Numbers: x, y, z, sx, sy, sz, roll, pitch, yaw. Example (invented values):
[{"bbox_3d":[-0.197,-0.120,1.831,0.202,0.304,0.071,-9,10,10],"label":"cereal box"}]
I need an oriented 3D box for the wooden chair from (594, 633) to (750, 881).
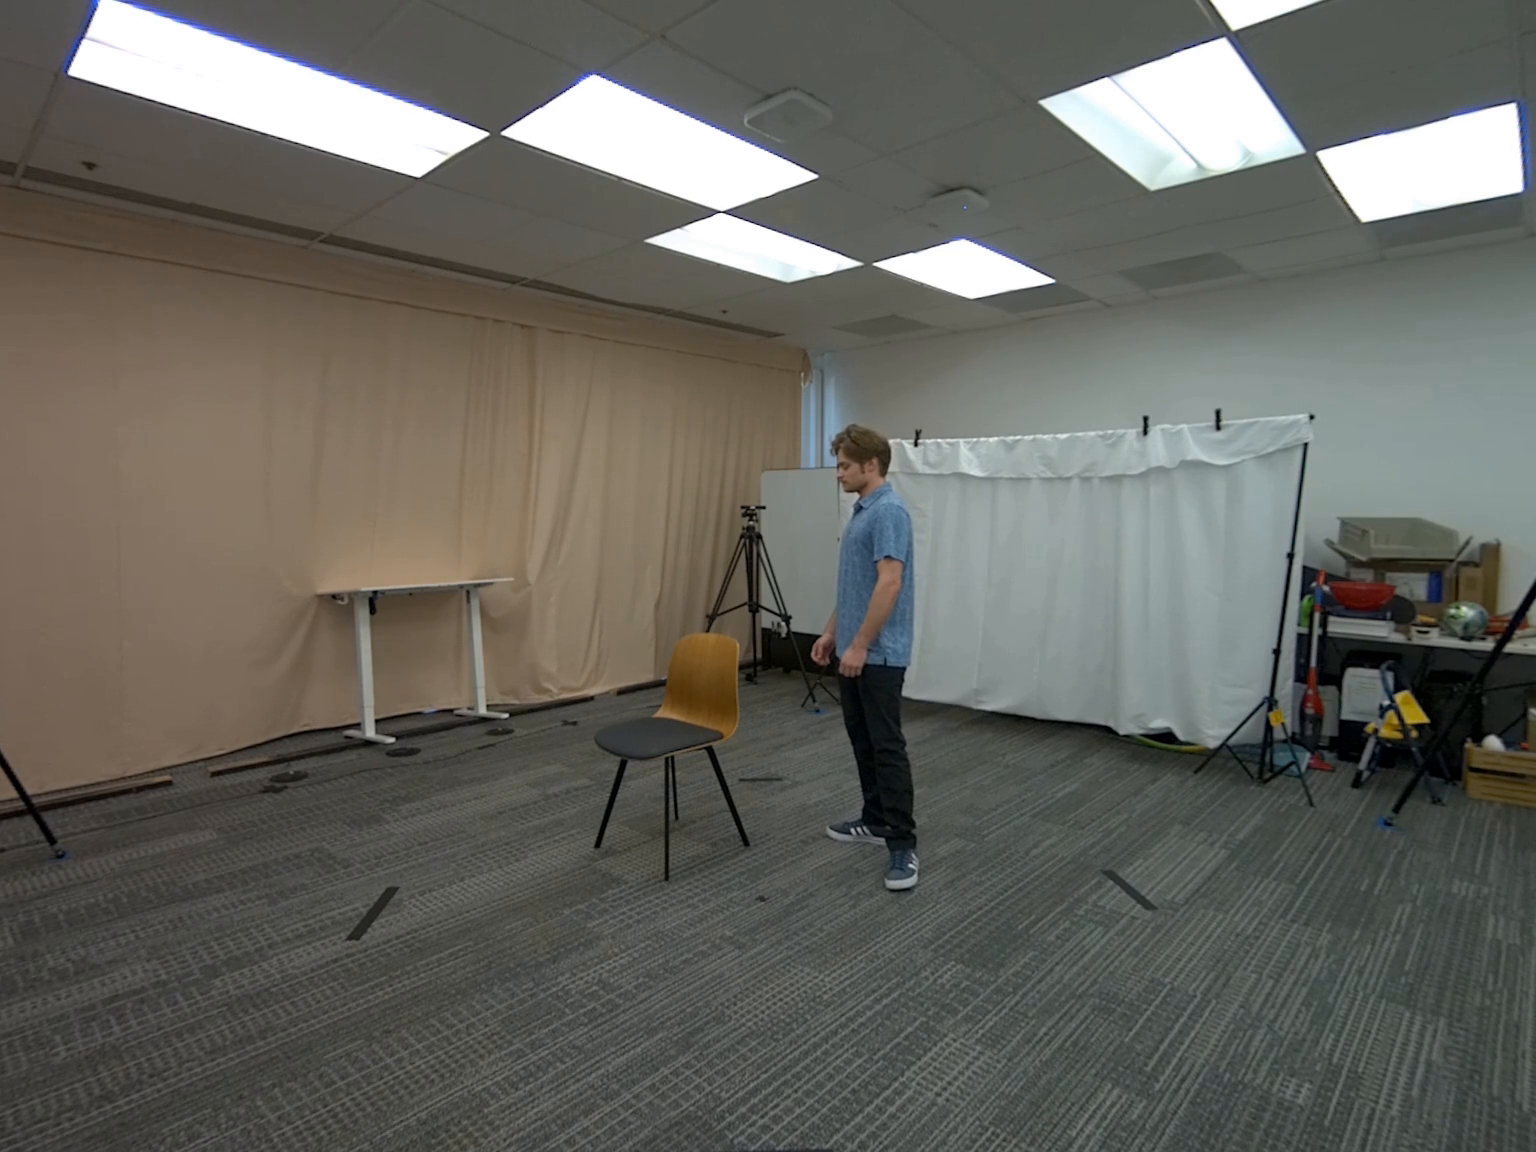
[{"bbox_3d":[-0.399,0.687,3.411,0.494,0.877,0.506,3,0,43],"label":"wooden chair"}]
